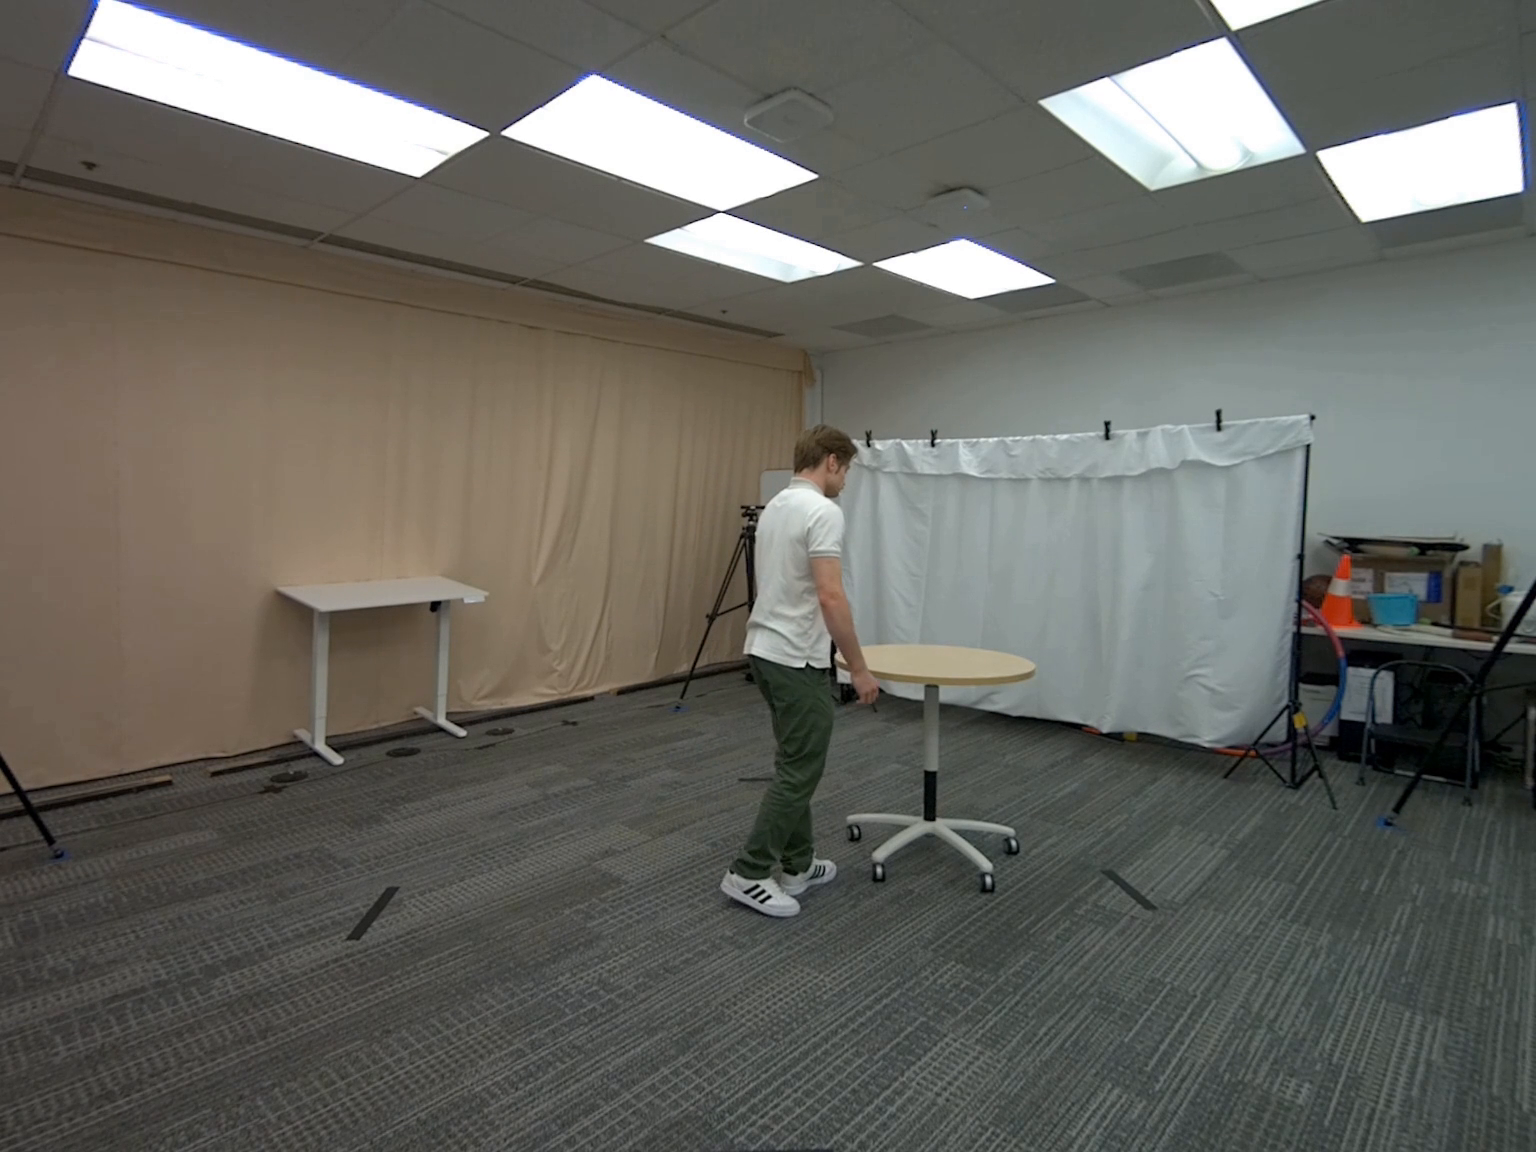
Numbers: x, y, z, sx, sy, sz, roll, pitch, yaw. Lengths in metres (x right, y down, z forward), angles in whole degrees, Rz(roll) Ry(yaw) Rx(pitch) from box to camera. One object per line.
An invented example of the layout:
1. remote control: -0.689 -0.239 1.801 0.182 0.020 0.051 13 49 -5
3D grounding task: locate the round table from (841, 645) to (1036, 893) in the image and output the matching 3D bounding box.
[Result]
1. round table: 0.648 0.724 3.346 0.763 0.793 0.766 1 3 -2
